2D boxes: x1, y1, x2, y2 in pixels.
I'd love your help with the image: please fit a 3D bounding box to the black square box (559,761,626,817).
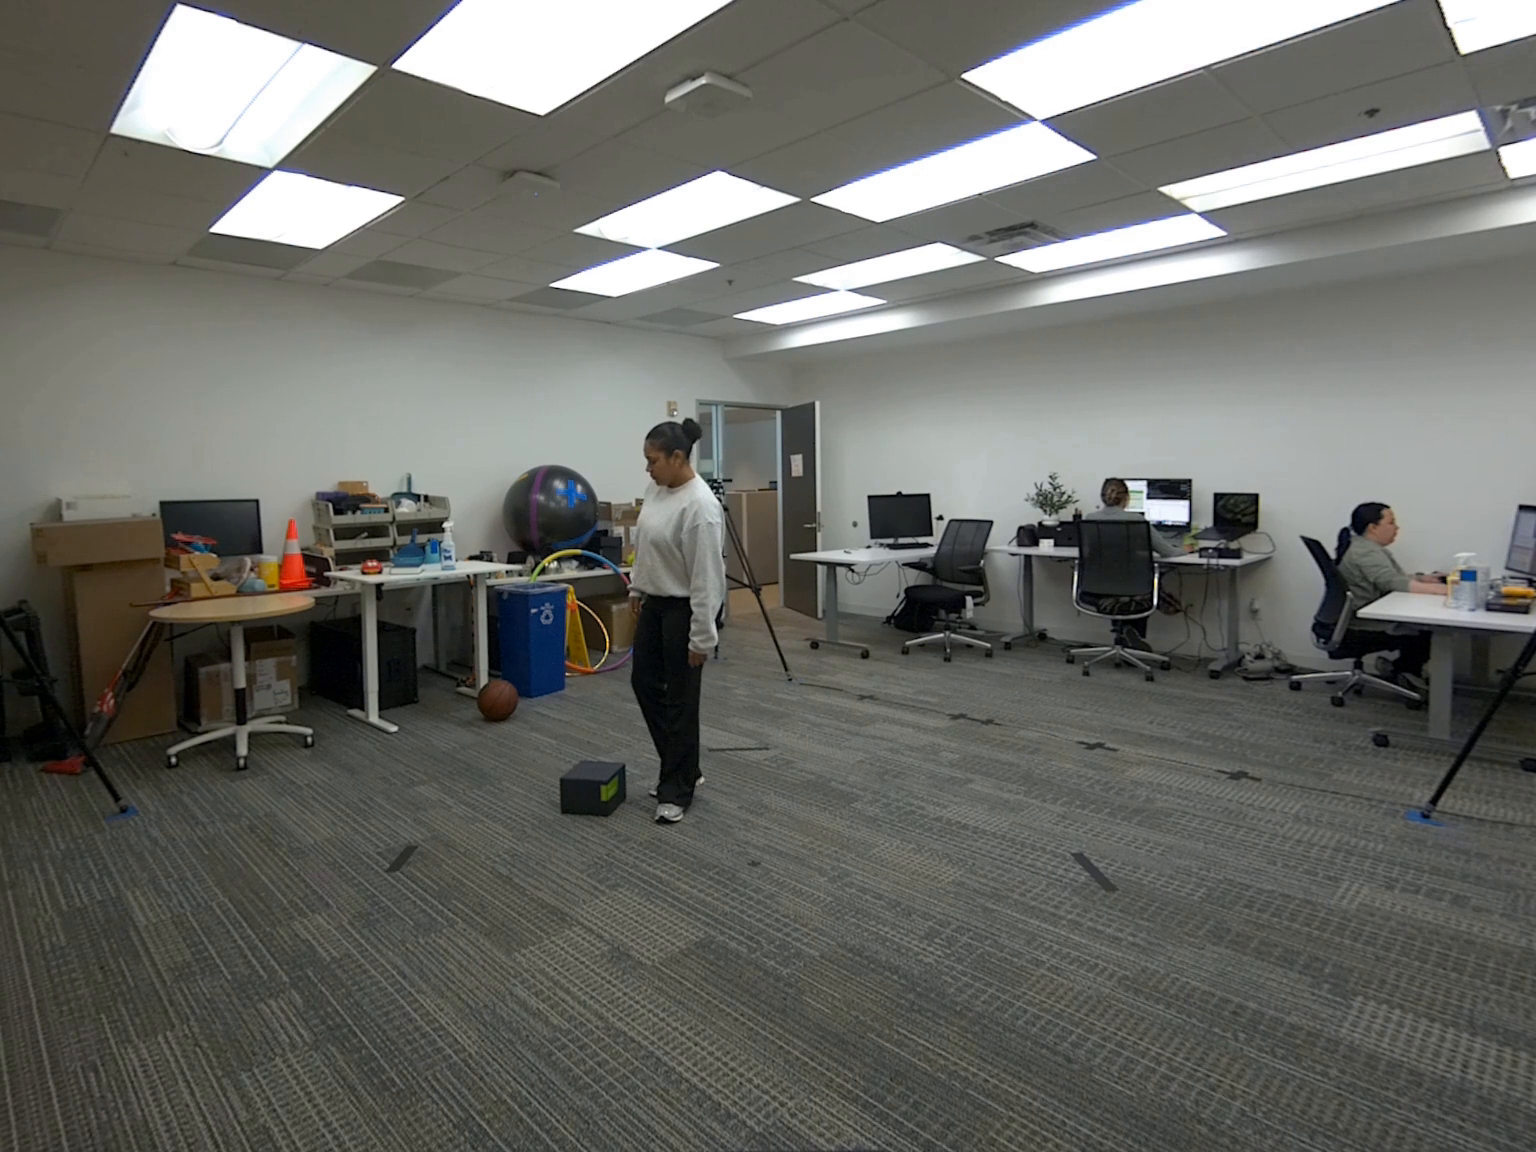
[{"bbox_3d":[-0.752,0.911,3.691,0.220,0.155,0.226,0,5,12],"label":"black square box"}]
